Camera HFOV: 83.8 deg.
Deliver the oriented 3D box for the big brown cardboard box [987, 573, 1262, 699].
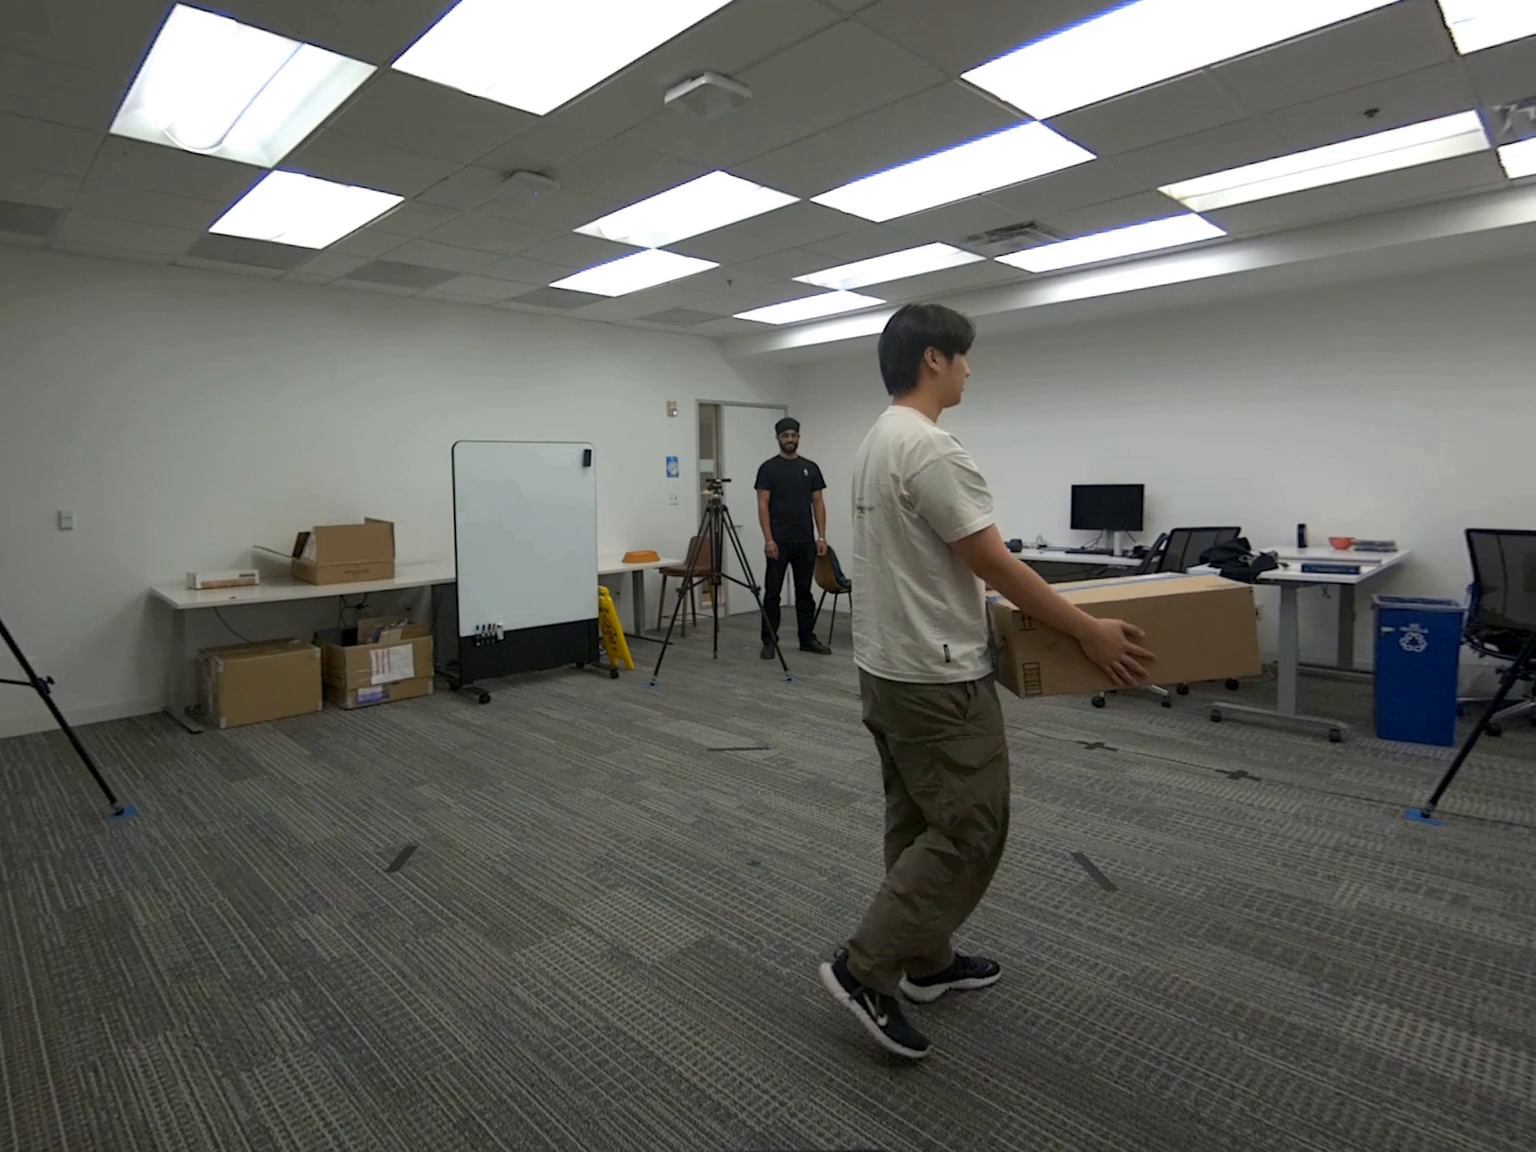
[{"bbox_3d":[0.861,0.141,2.210,0.590,0.232,0.418,-7,4,1],"label":"big brown cardboard box"}]
